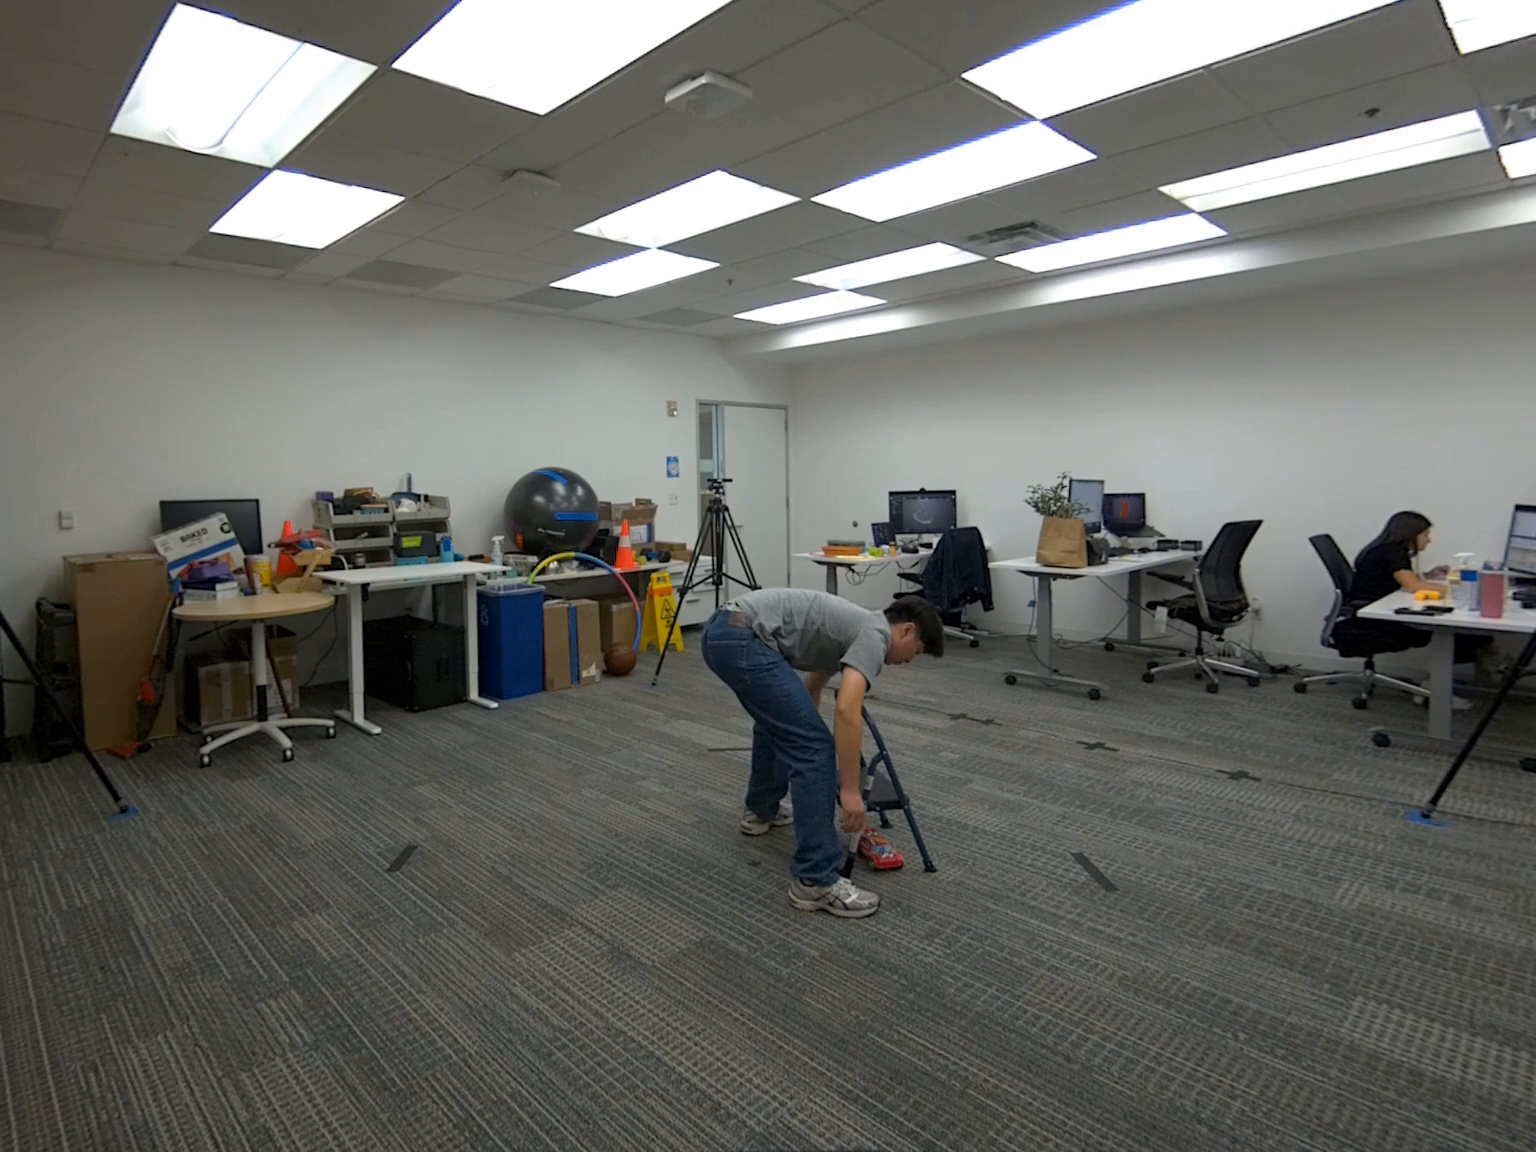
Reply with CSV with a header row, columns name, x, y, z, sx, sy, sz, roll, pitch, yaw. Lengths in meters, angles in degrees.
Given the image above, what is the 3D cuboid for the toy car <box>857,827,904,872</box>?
name,x,y,z,sx,sy,sz,roll,pitch,yaw
toy car,0.403,1.005,3.140,0.129,0.082,0.261,-3,17,-13
